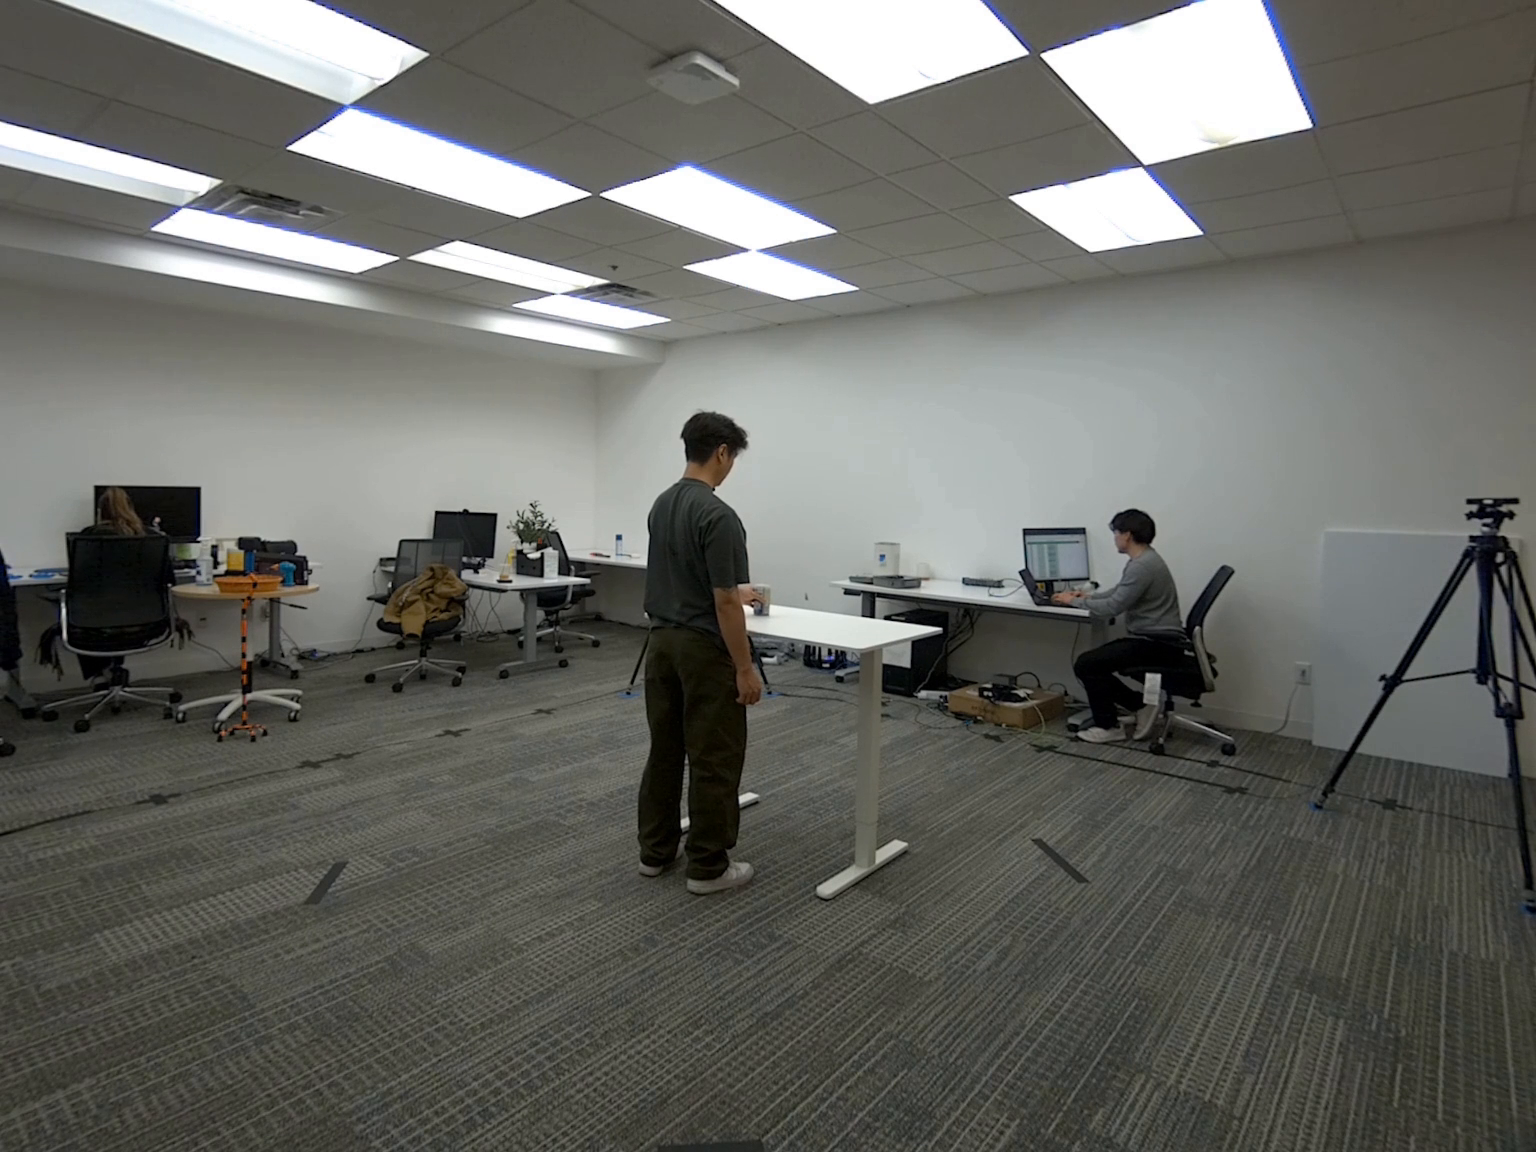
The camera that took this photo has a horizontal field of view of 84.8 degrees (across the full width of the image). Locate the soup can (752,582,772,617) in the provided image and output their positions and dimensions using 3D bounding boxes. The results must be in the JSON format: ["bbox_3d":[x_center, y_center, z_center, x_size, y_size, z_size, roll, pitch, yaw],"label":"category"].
[{"bbox_3d":[-0.028,0.093,3.420,0.067,0.121,0.068,3,7,-2],"label":"soup can"}]
